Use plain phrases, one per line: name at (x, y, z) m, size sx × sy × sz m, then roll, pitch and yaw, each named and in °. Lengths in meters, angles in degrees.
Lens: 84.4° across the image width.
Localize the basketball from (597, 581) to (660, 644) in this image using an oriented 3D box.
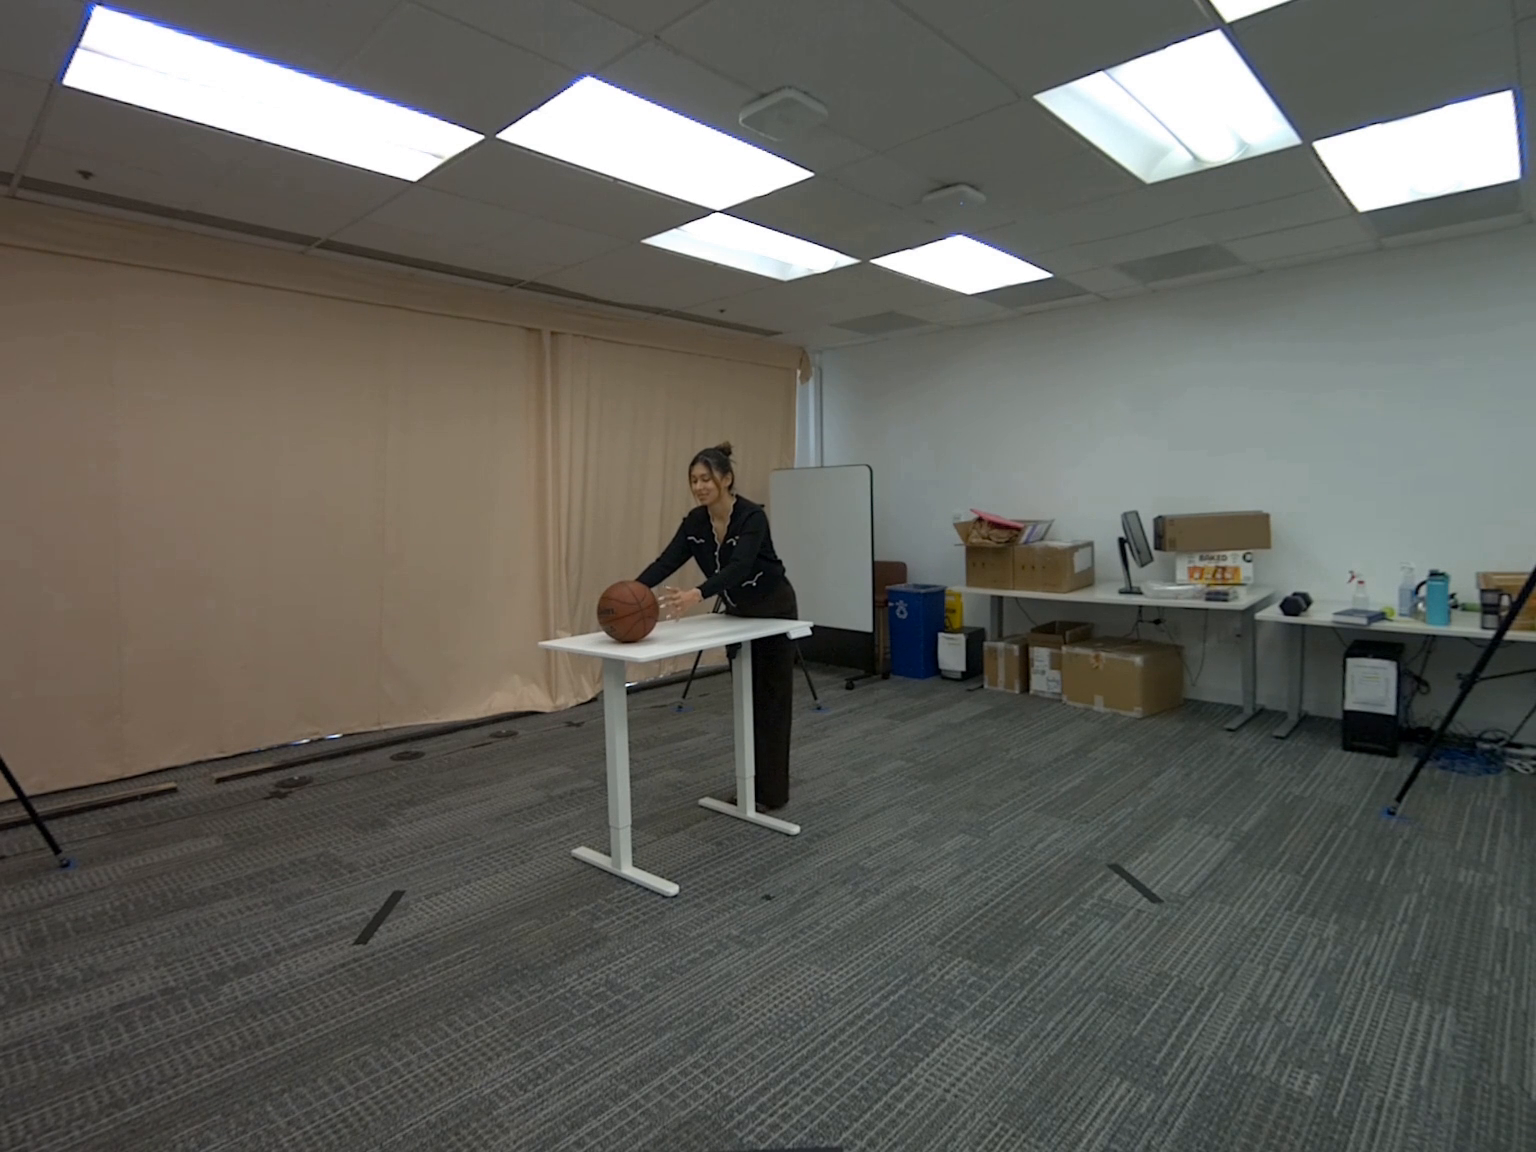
basketball at (-0.522, 0.134, 3.213) m, size 0.236 × 0.235 × 0.237 m, roll -1°, pitch 4°, yaw -2°
